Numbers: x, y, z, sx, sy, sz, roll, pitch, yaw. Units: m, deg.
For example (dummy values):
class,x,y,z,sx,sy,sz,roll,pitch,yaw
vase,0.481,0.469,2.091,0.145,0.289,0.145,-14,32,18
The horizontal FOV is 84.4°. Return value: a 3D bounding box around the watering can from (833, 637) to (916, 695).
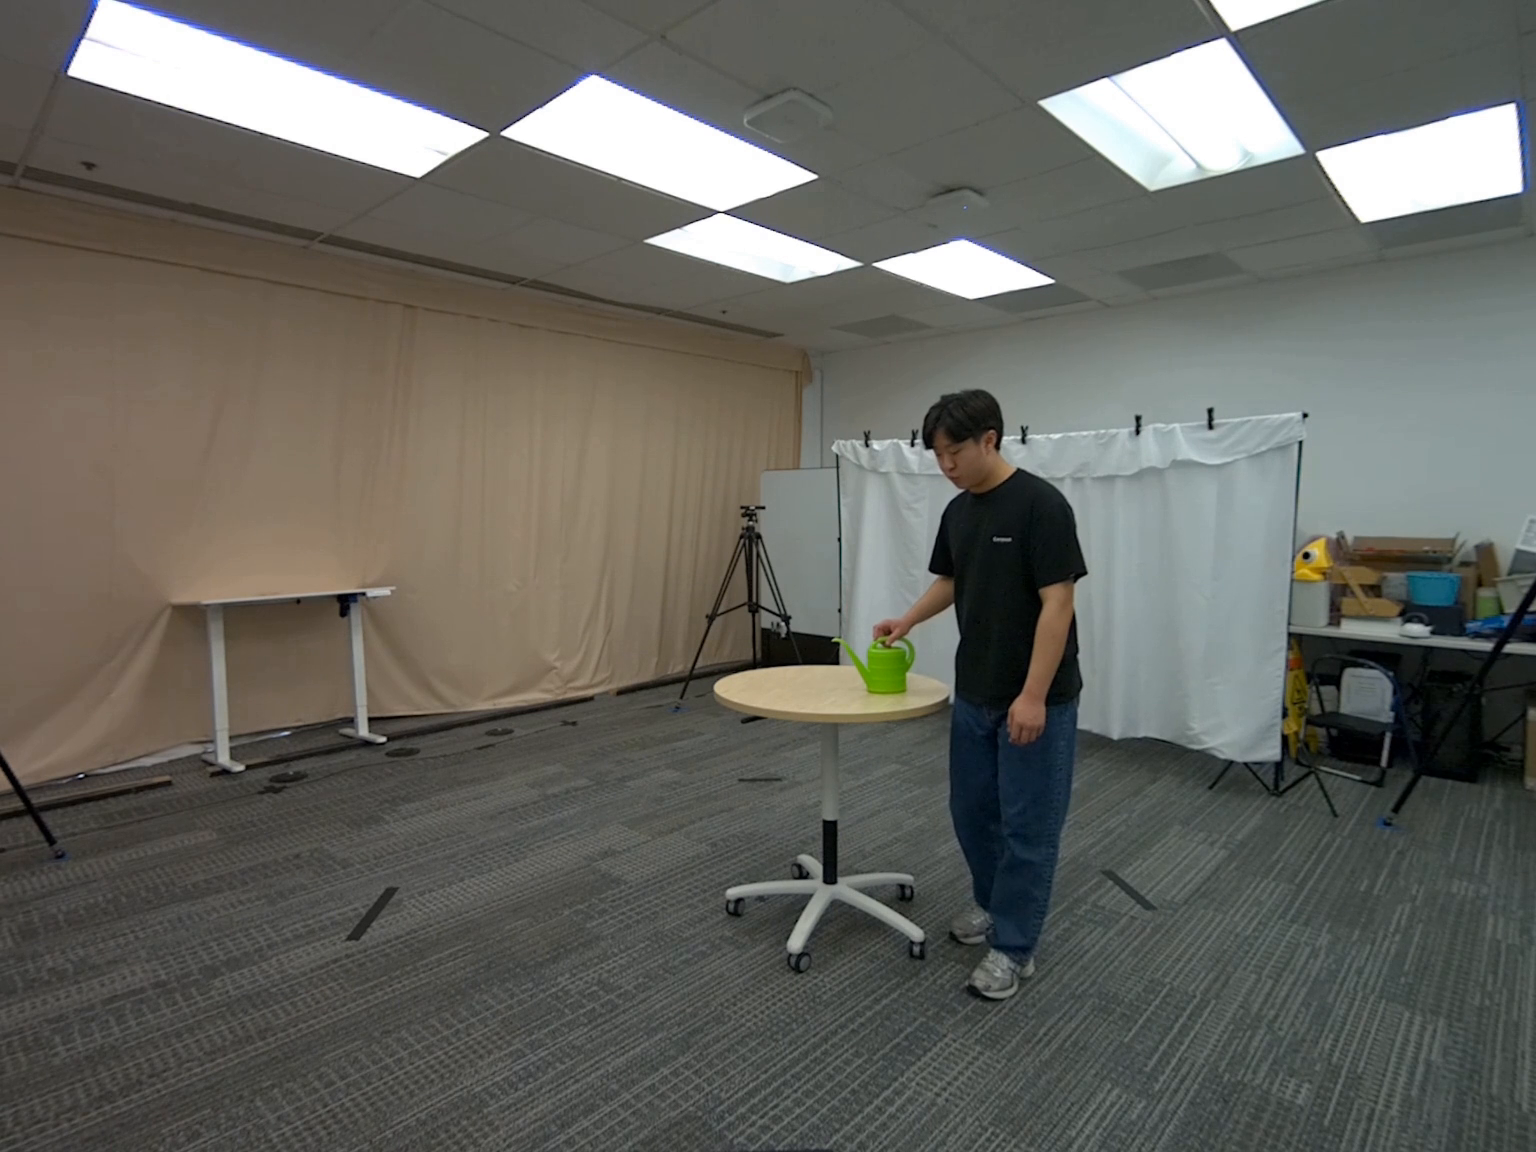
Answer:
class,x,y,z,sx,sy,sz,roll,pitch,yaw
watering can,0.343,0.286,2.688,0.279,0.177,0.098,0,1,2
